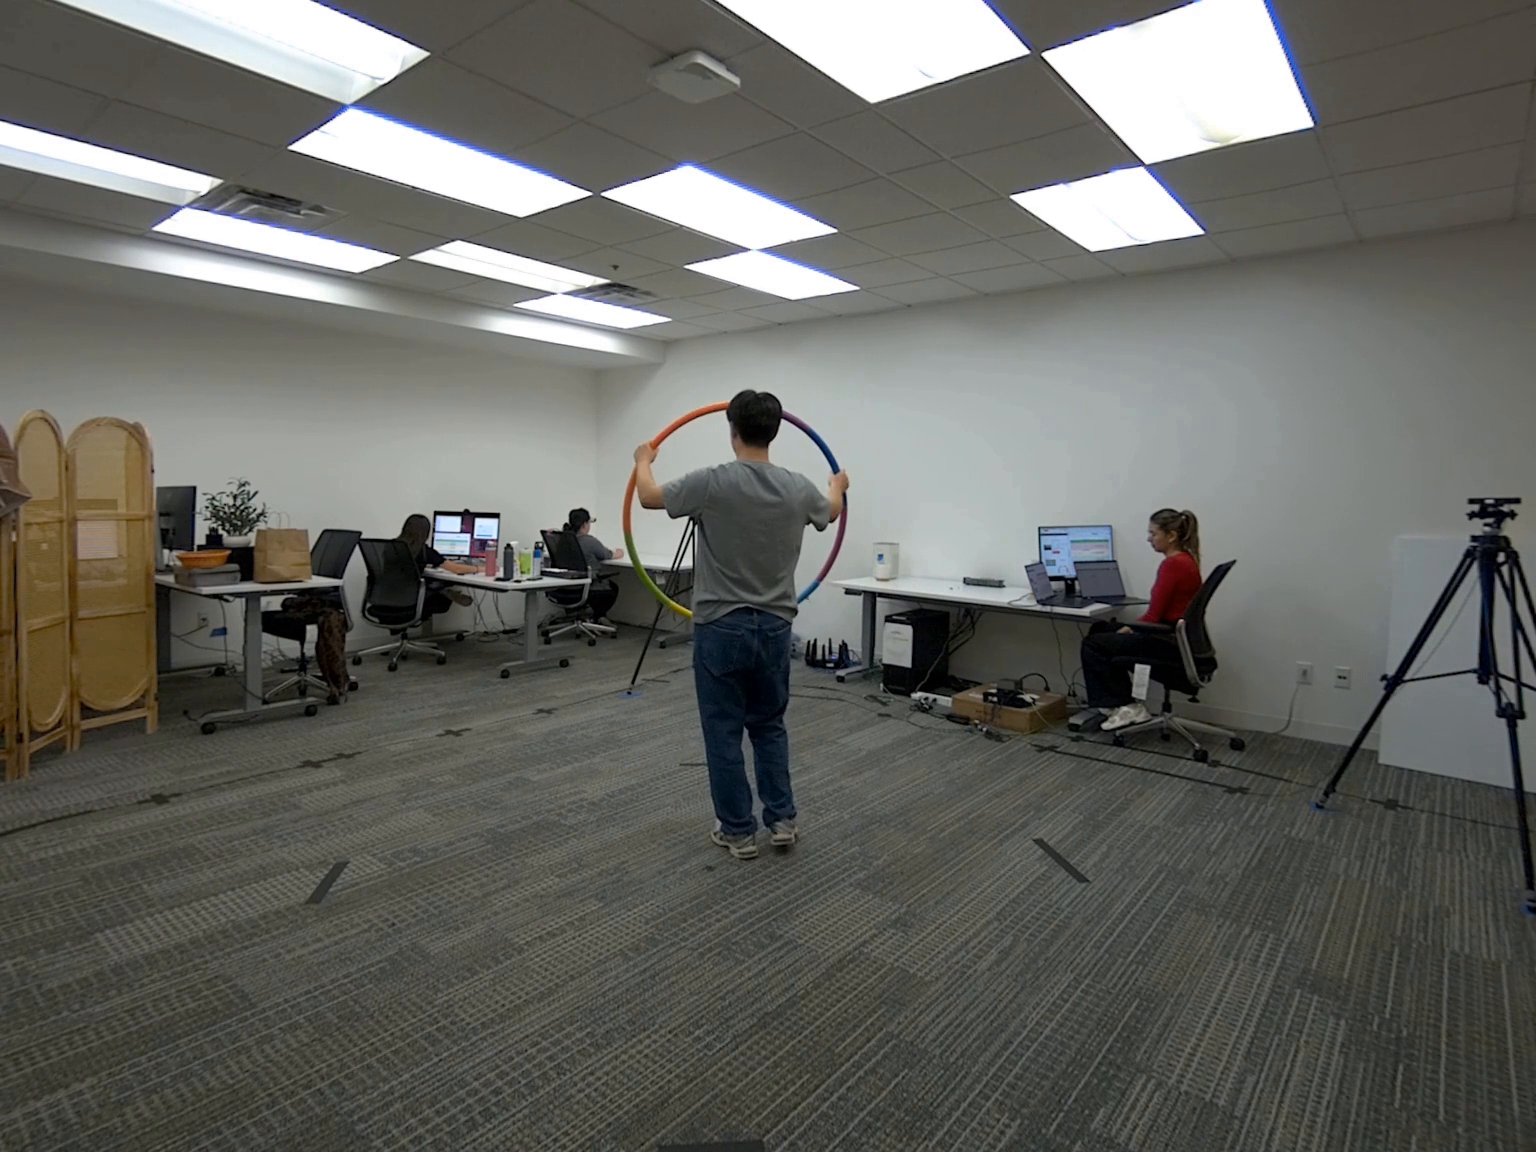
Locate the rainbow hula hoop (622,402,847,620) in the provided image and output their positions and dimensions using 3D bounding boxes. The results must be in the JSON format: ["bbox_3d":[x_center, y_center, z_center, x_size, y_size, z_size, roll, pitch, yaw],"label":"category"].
[{"bbox_3d":[-0.143,-0.254,3.640,0.967,0.968,0.036,1,12,-10],"label":"rainbow hula hoop"}]
